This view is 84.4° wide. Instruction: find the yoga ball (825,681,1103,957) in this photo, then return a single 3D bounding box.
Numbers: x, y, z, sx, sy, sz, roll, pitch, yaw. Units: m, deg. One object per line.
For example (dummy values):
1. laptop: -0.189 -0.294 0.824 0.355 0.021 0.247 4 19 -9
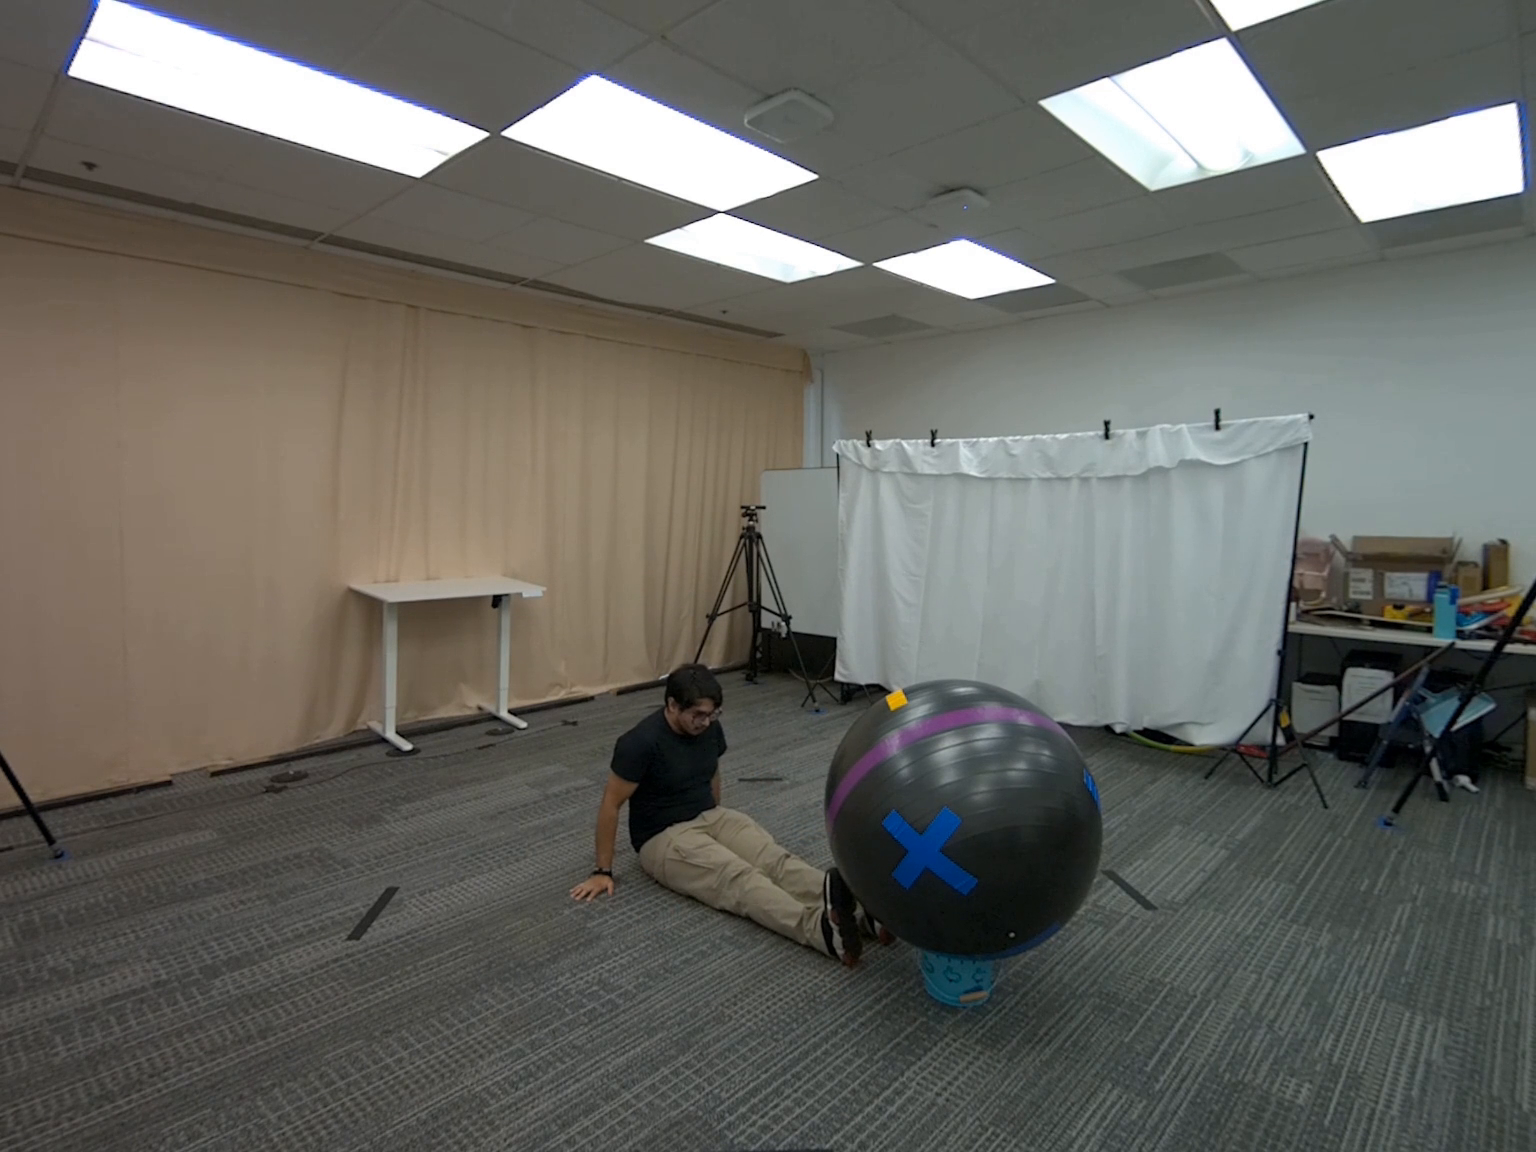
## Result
1. yoga ball: 0.551 0.685 2.405 0.757 0.756 0.760 0 4 -2
